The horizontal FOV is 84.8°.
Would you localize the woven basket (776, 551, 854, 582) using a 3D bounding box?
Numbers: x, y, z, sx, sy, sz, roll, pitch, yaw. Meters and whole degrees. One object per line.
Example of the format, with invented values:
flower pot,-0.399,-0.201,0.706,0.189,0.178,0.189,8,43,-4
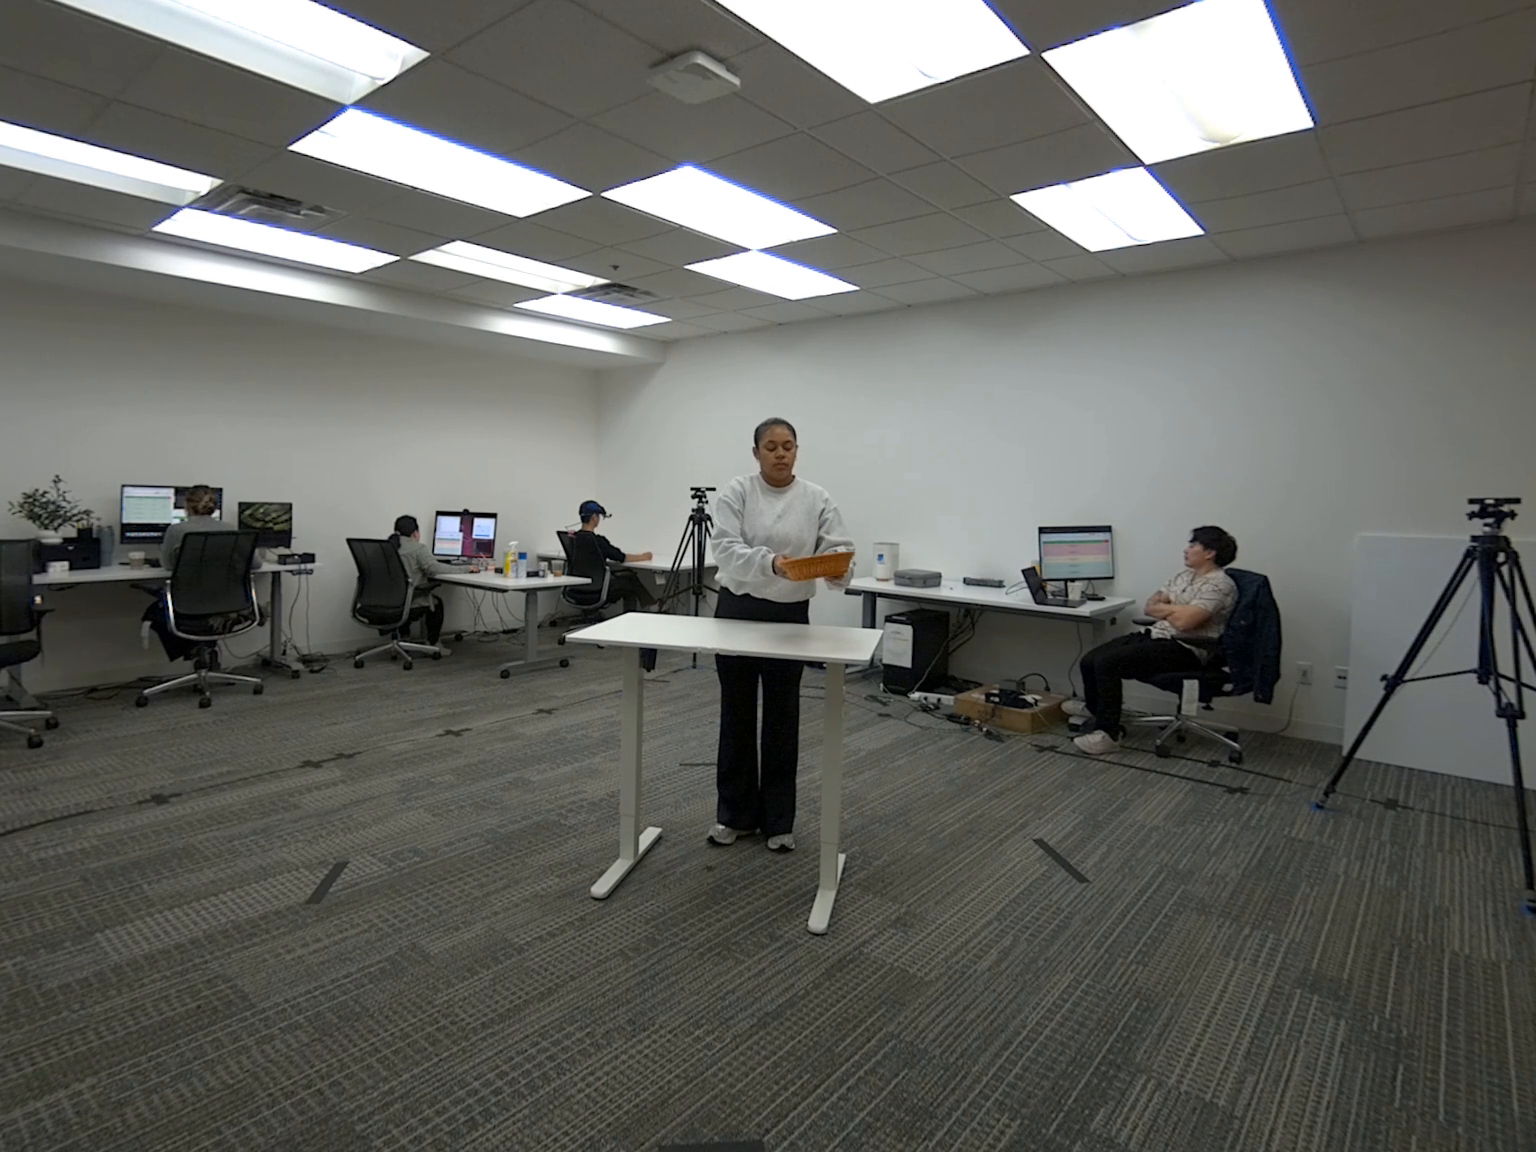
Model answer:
woven basket,0.148,-0.027,2.804,0.251,0.073,0.351,-7,1,-5
